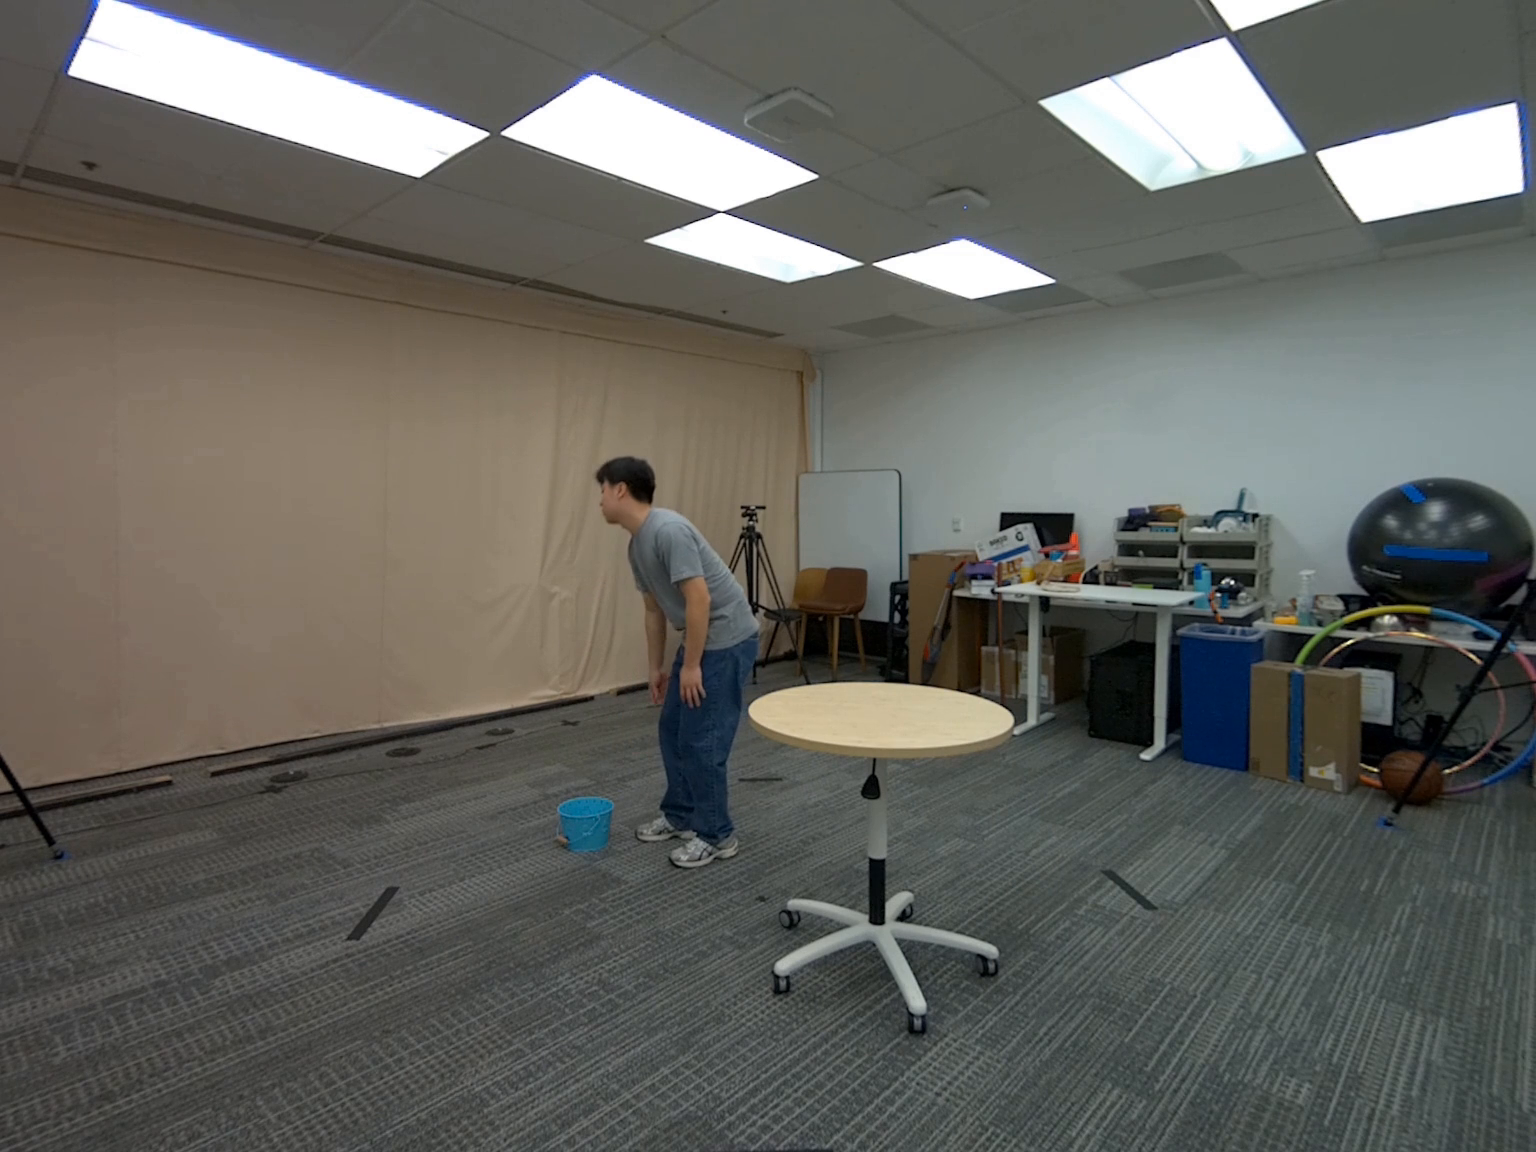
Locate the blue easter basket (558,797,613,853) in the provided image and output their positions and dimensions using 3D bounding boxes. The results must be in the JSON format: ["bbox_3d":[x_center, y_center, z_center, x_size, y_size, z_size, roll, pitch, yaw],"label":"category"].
[{"bbox_3d":[-0.760,1.032,3.504,0.243,0.155,0.244,0,4,-2],"label":"blue easter basket"}]
